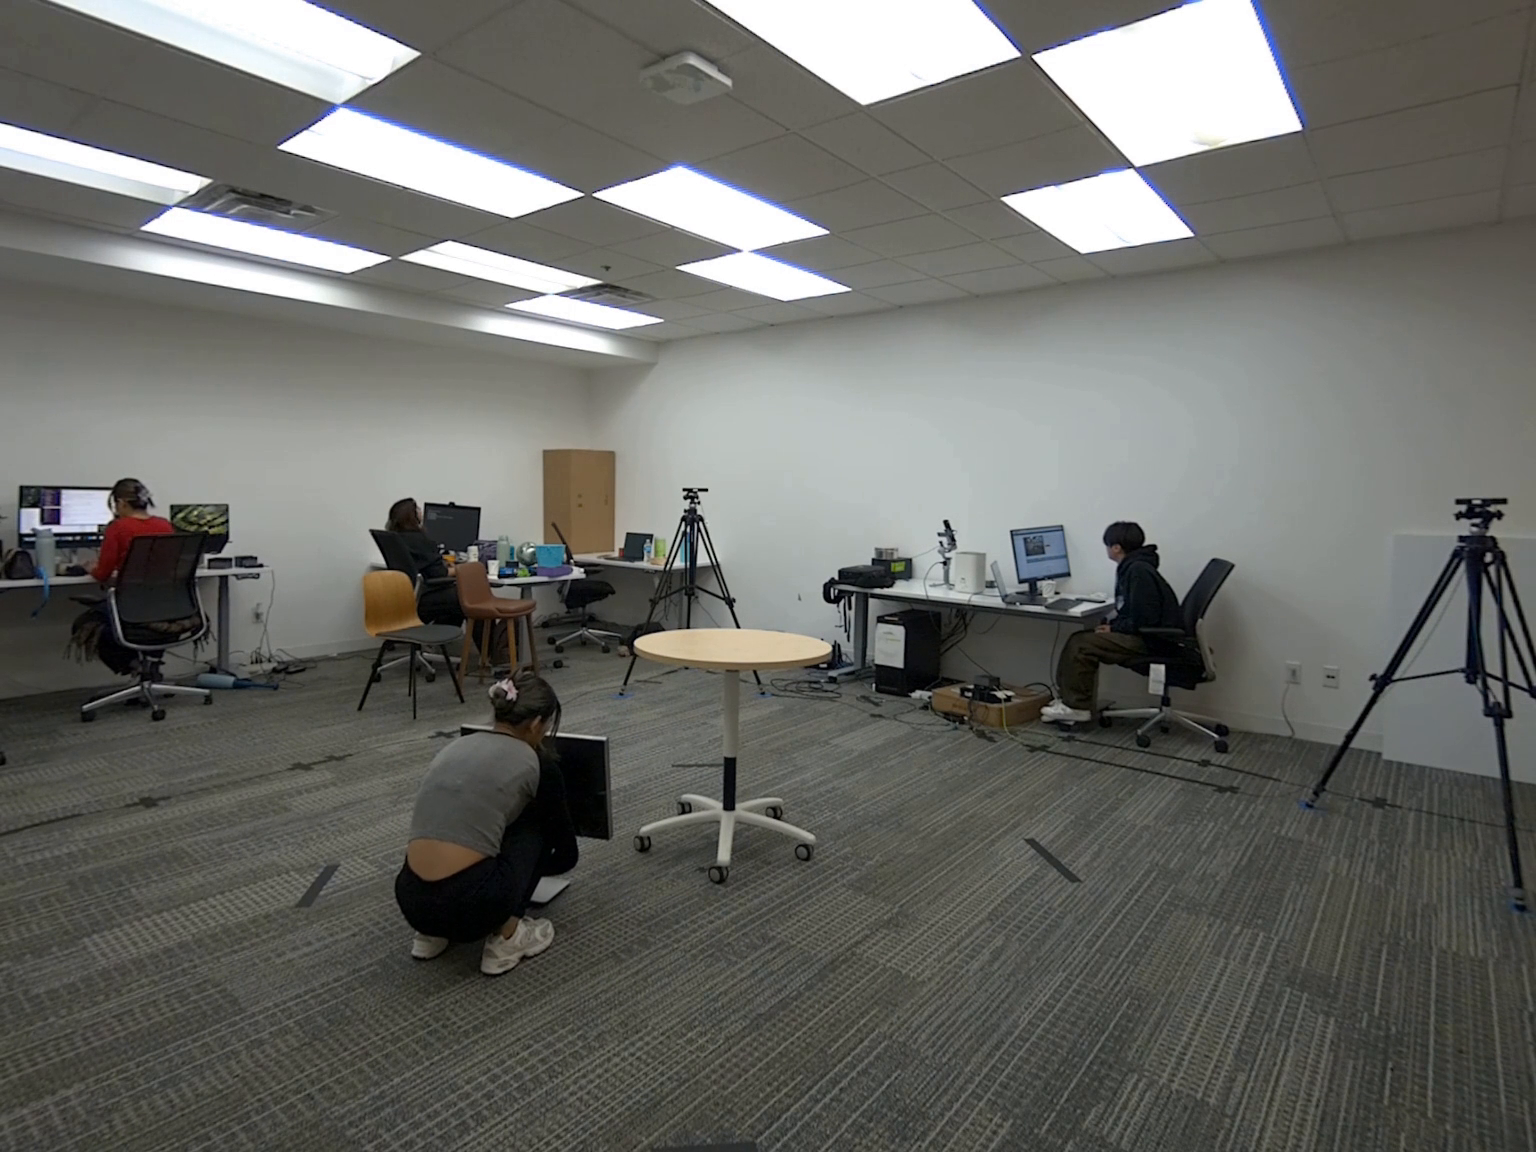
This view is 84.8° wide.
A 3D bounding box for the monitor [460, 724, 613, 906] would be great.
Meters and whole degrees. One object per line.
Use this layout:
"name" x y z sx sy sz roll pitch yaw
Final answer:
"monitor" -0.825 0.803 2.914 0.547 0.524 0.184 1 -2 14
